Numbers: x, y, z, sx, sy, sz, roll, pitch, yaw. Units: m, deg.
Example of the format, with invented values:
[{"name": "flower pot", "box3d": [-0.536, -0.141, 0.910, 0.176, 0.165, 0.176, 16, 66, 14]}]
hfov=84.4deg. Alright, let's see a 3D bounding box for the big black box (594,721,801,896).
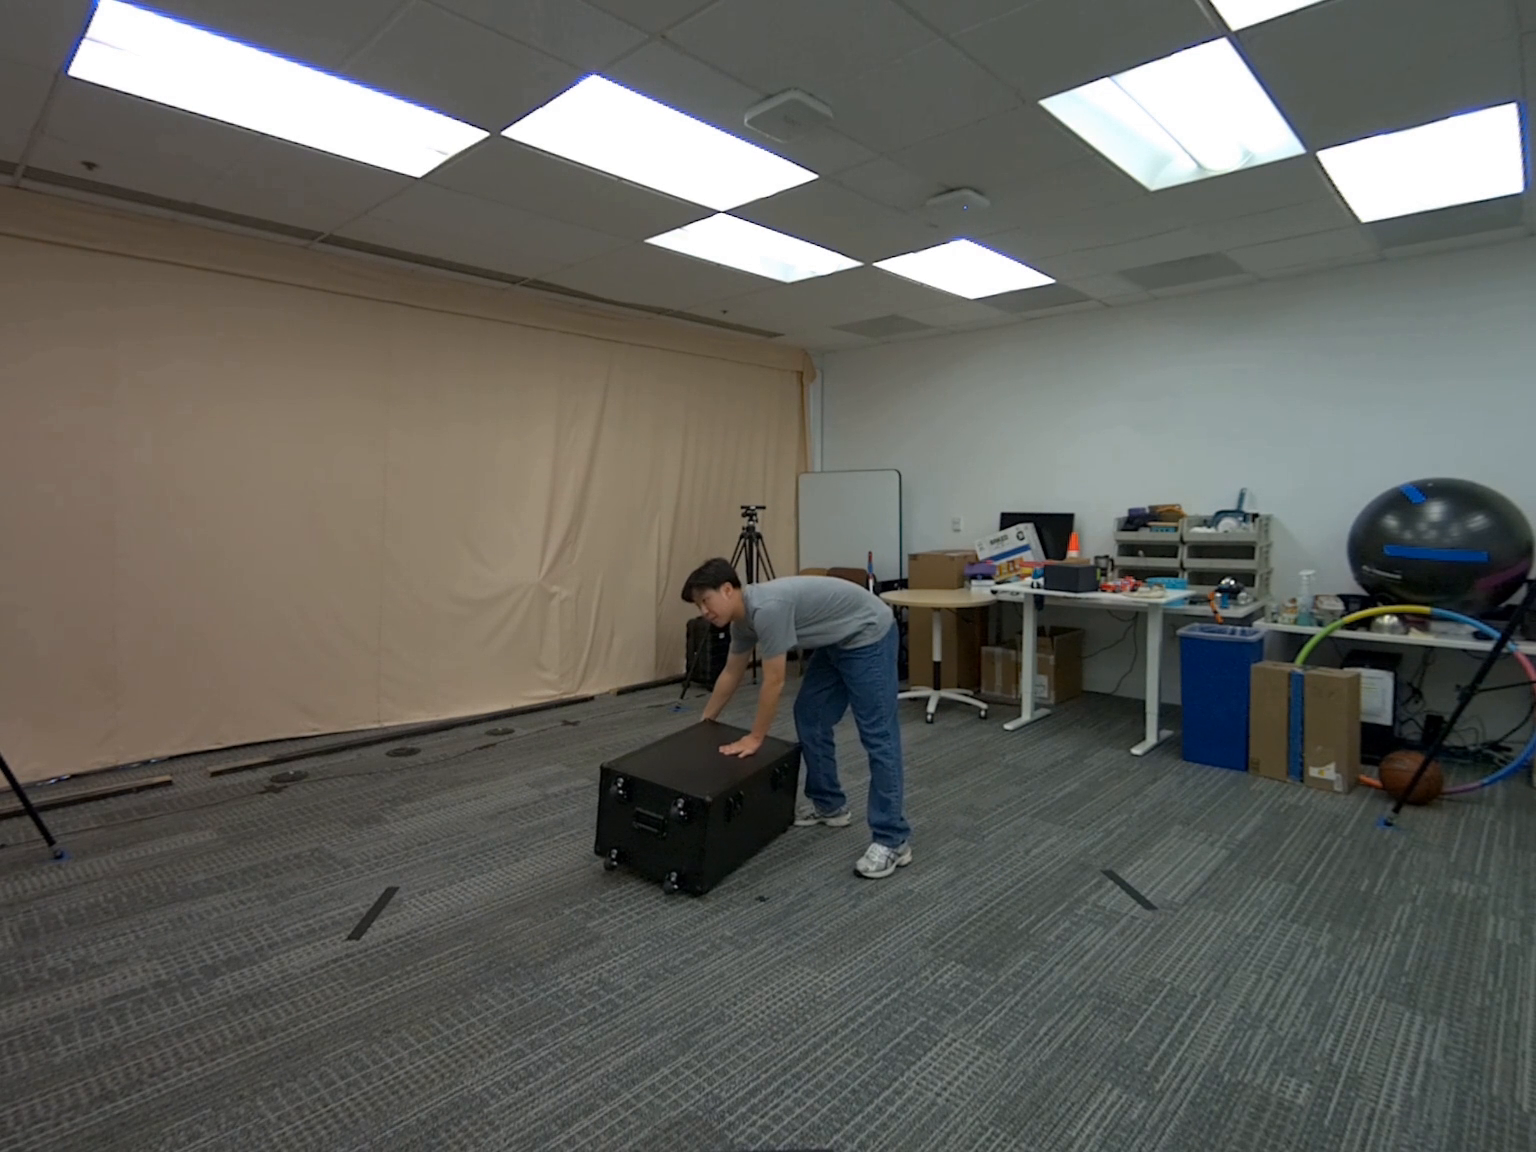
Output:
[{"name": "big black box", "box3d": [-0.275, 0.905, 3.372, 0.536, 0.395, 0.839, 8, 7, 27]}]
